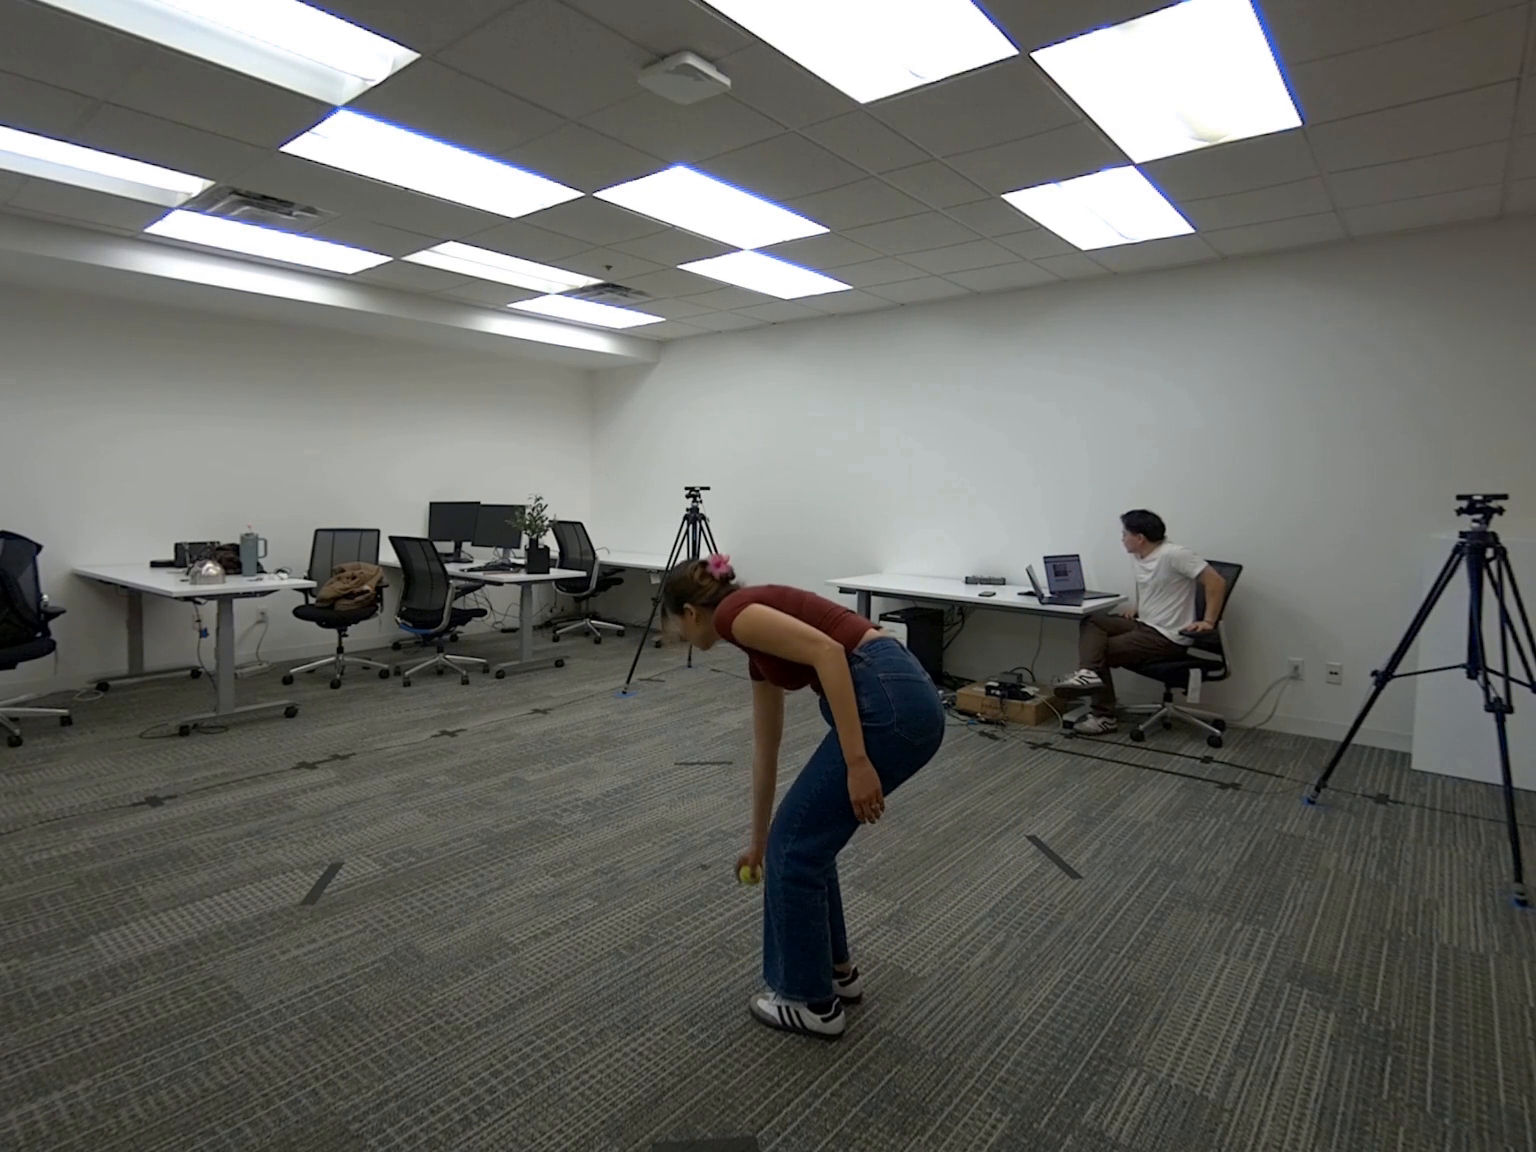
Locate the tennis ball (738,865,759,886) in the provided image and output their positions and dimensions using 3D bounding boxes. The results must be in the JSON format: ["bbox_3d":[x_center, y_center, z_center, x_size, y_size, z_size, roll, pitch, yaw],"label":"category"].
[{"bbox_3d":[-0.075,0.894,2.536,0.066,0.066,0.067,1,4,-2],"label":"tennis ball"}]
